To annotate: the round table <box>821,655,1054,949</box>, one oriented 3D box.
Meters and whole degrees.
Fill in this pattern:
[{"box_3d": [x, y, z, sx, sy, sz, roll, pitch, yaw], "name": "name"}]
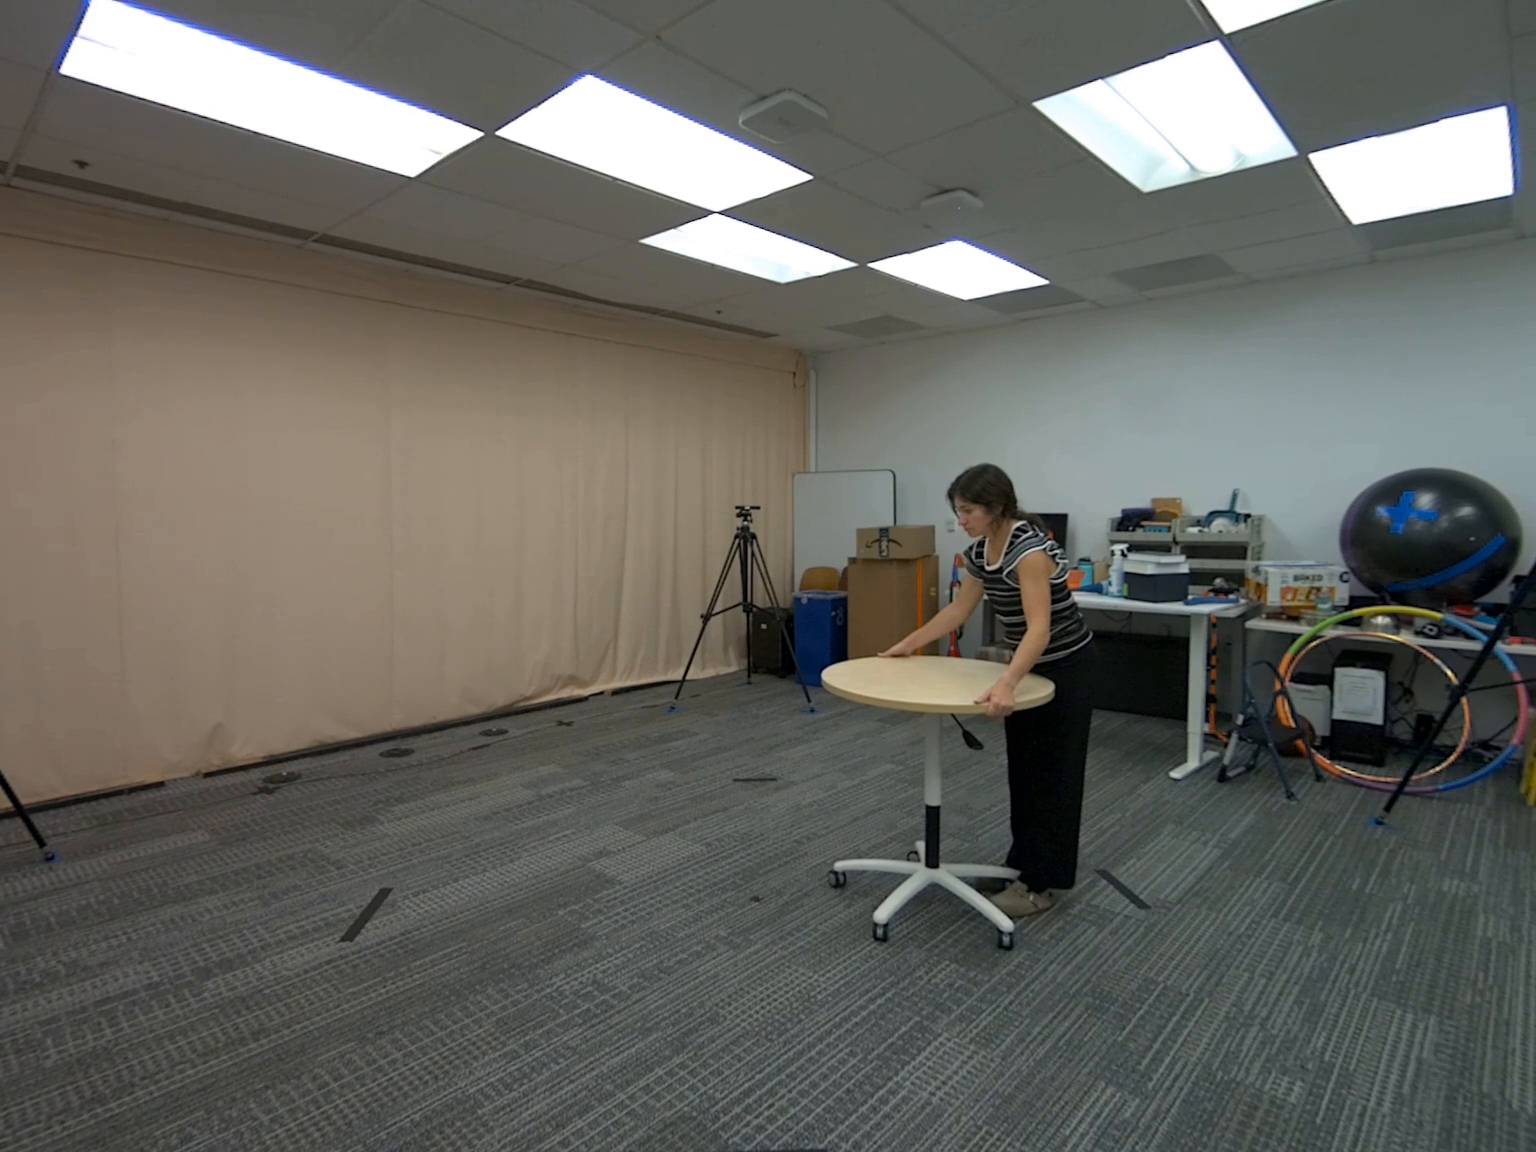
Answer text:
[{"box_3d": [0.565, 0.749, 2.908, 0.763, 0.792, 0.767, 0, 4, -2], "name": "round table"}]
